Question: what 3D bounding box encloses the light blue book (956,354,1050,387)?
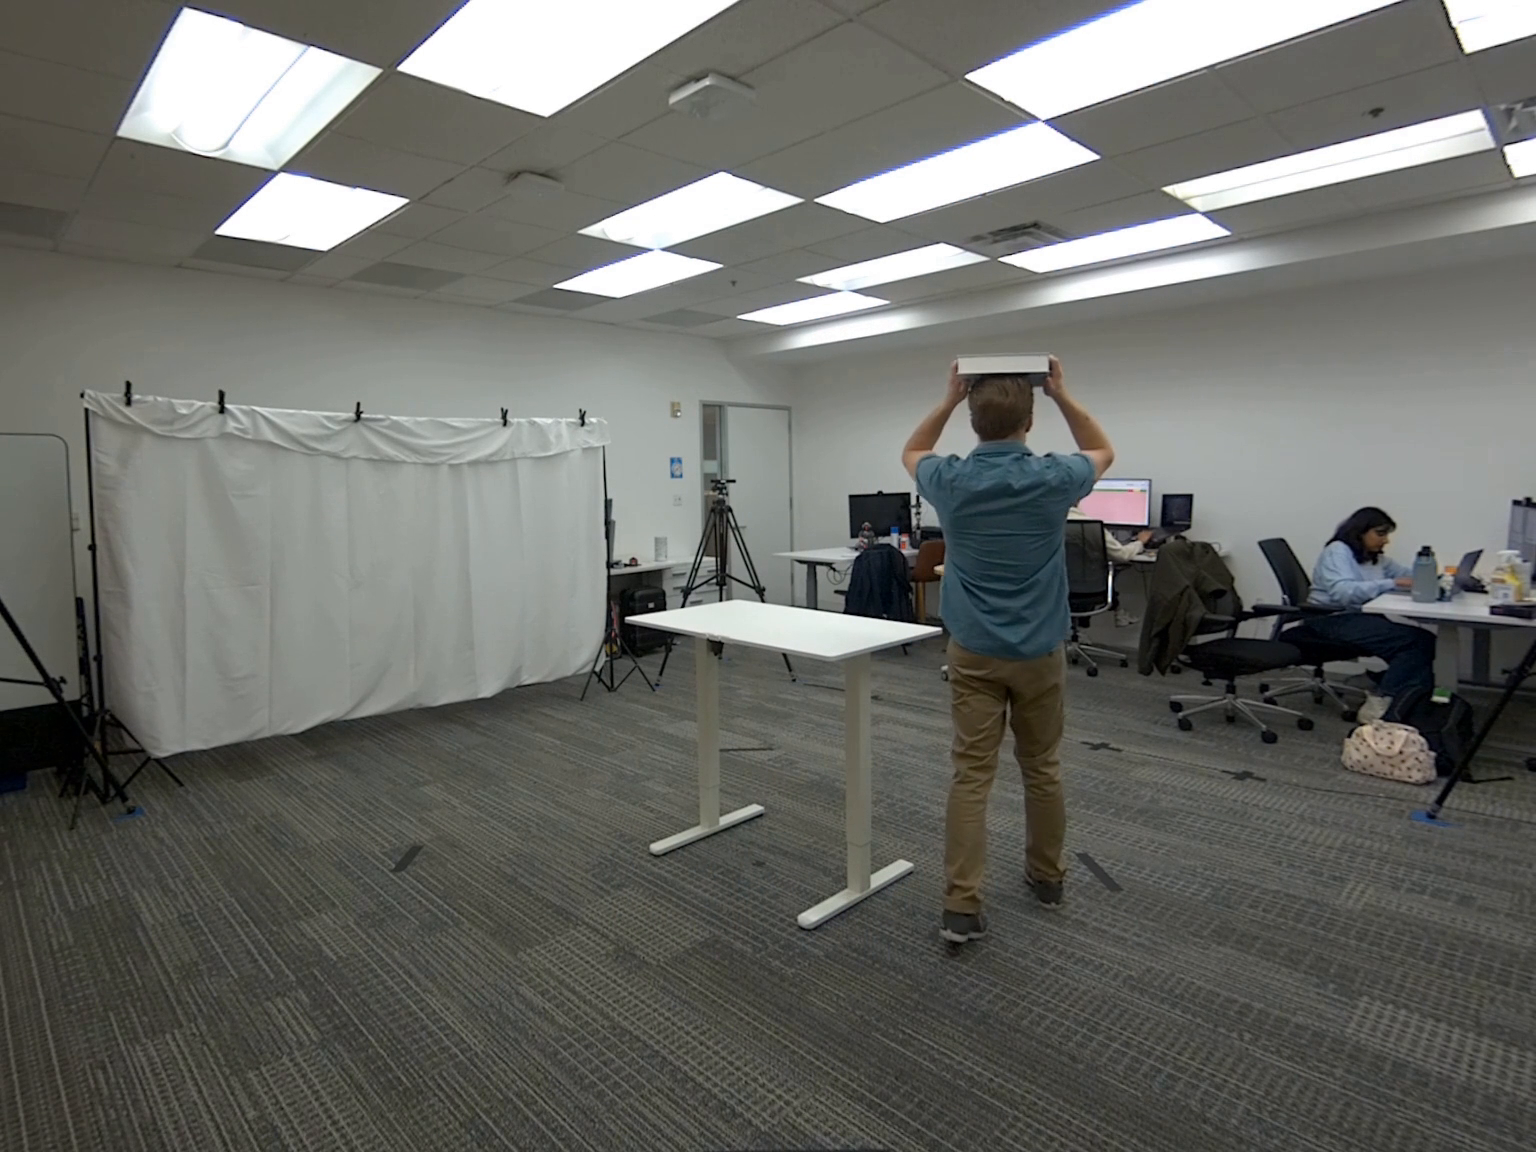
[{"bbox_3d":[0.720,-0.620,2.603,0.266,0.059,0.187,2,-4,18],"label":"light blue book"}]
